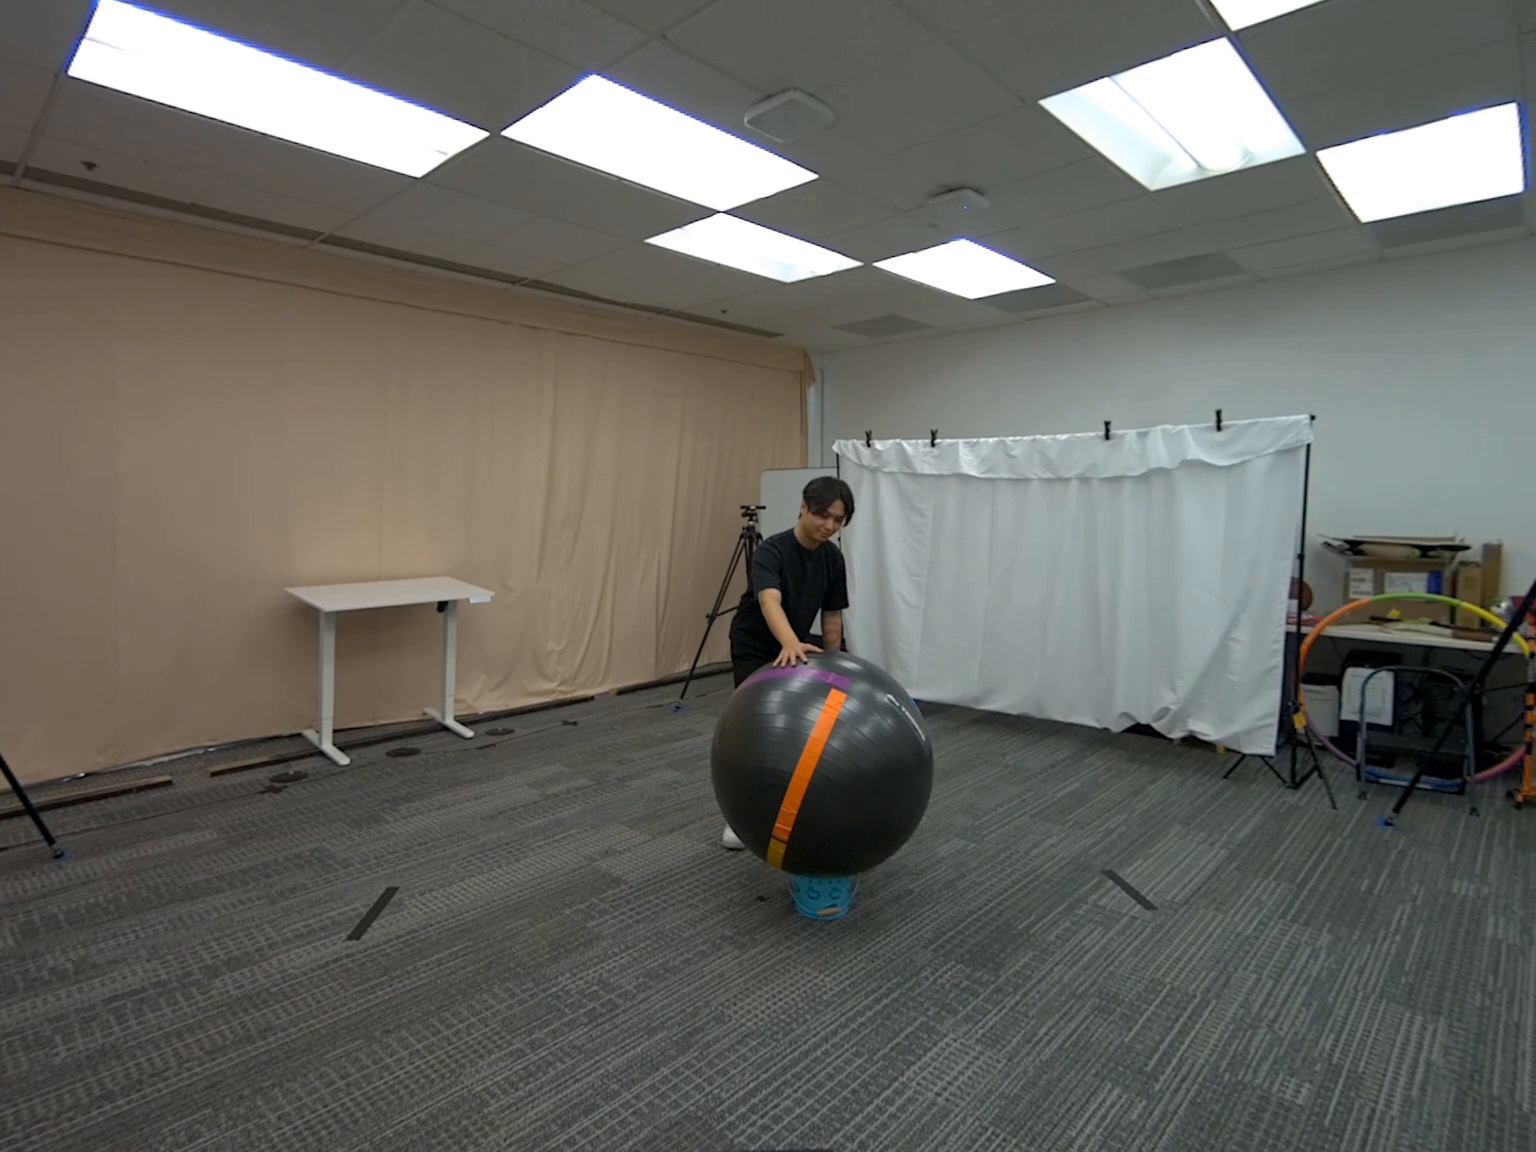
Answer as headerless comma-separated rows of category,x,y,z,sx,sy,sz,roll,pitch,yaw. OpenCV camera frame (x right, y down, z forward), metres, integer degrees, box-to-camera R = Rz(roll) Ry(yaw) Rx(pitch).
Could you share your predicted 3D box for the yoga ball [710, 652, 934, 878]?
yoga ball,0.186,0.642,2.892,0.757,0.756,0.760,0,4,-2
